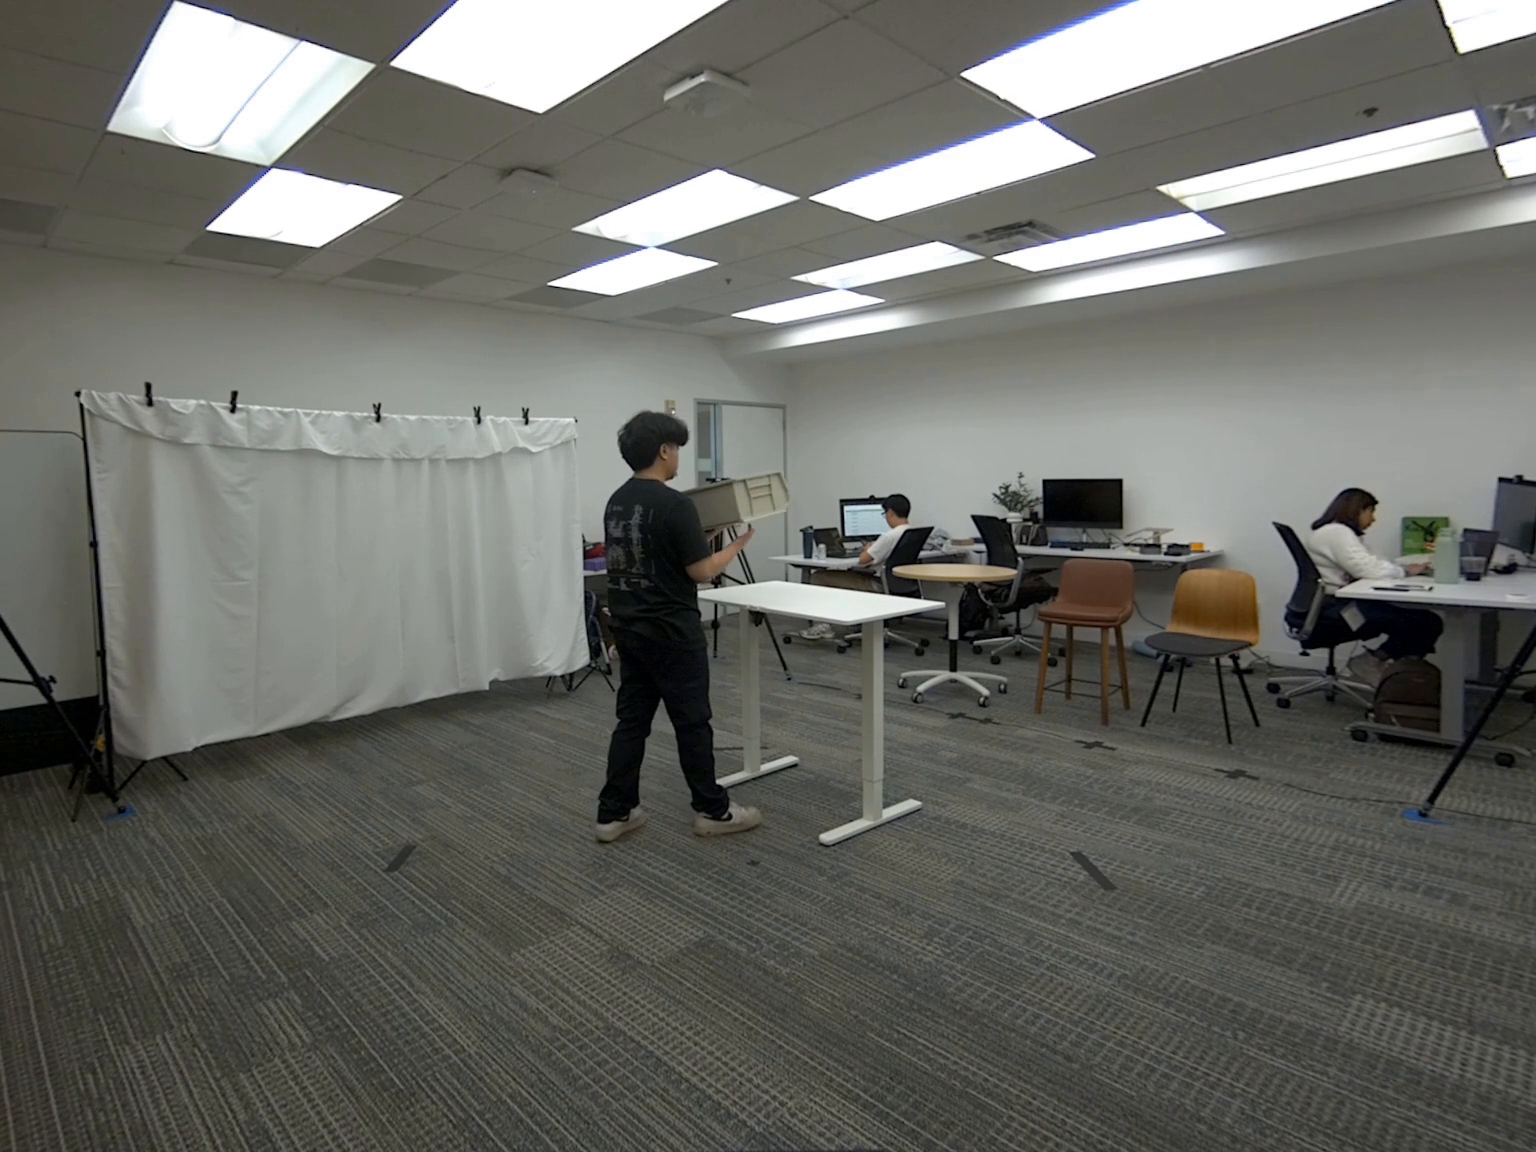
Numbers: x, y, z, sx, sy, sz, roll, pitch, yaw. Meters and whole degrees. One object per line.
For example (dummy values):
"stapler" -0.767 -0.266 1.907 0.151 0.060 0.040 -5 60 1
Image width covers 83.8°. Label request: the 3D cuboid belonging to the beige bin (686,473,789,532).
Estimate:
"beige bin" -0.183 -0.297 3.599 0.432 0.188 0.370 -8 7 35
